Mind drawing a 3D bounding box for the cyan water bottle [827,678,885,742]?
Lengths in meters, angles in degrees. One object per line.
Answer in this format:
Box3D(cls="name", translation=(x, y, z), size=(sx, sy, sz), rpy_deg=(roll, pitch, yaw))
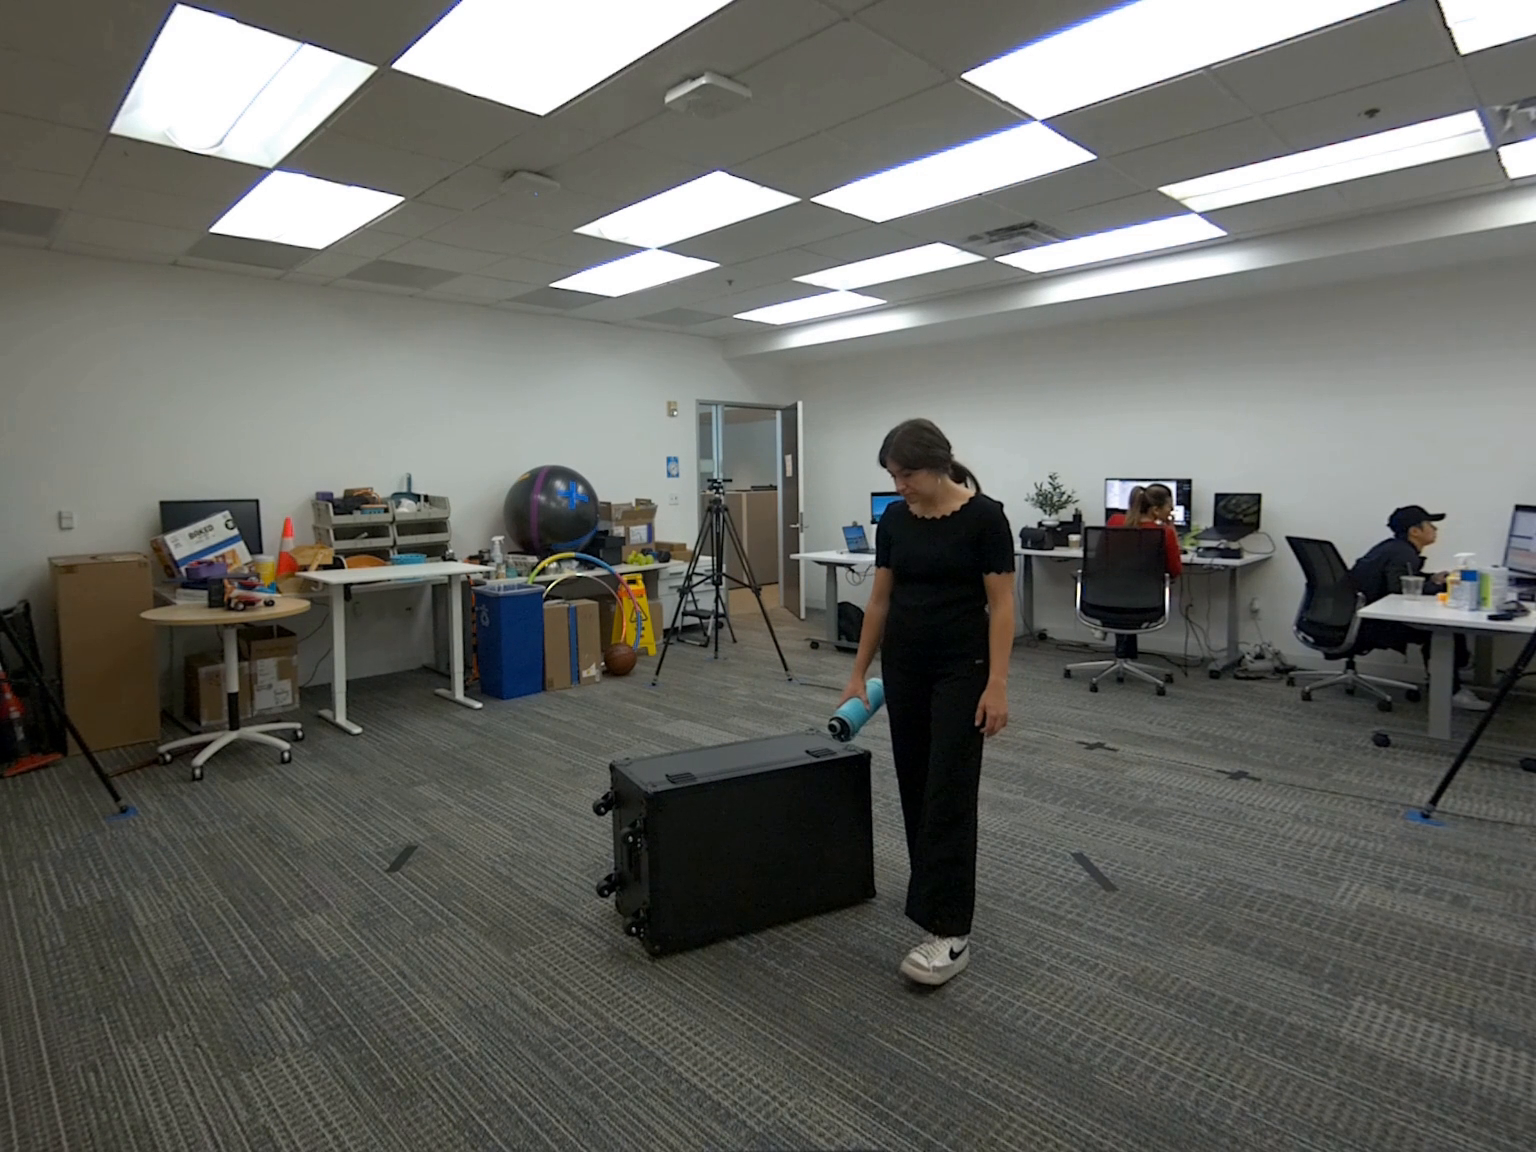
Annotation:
Box3D(cls="cyan water bottle", translation=(0.296, 0.429, 2.711), size=(0.095, 0.090, 0.281), rpy_deg=(2, 25, 36))
